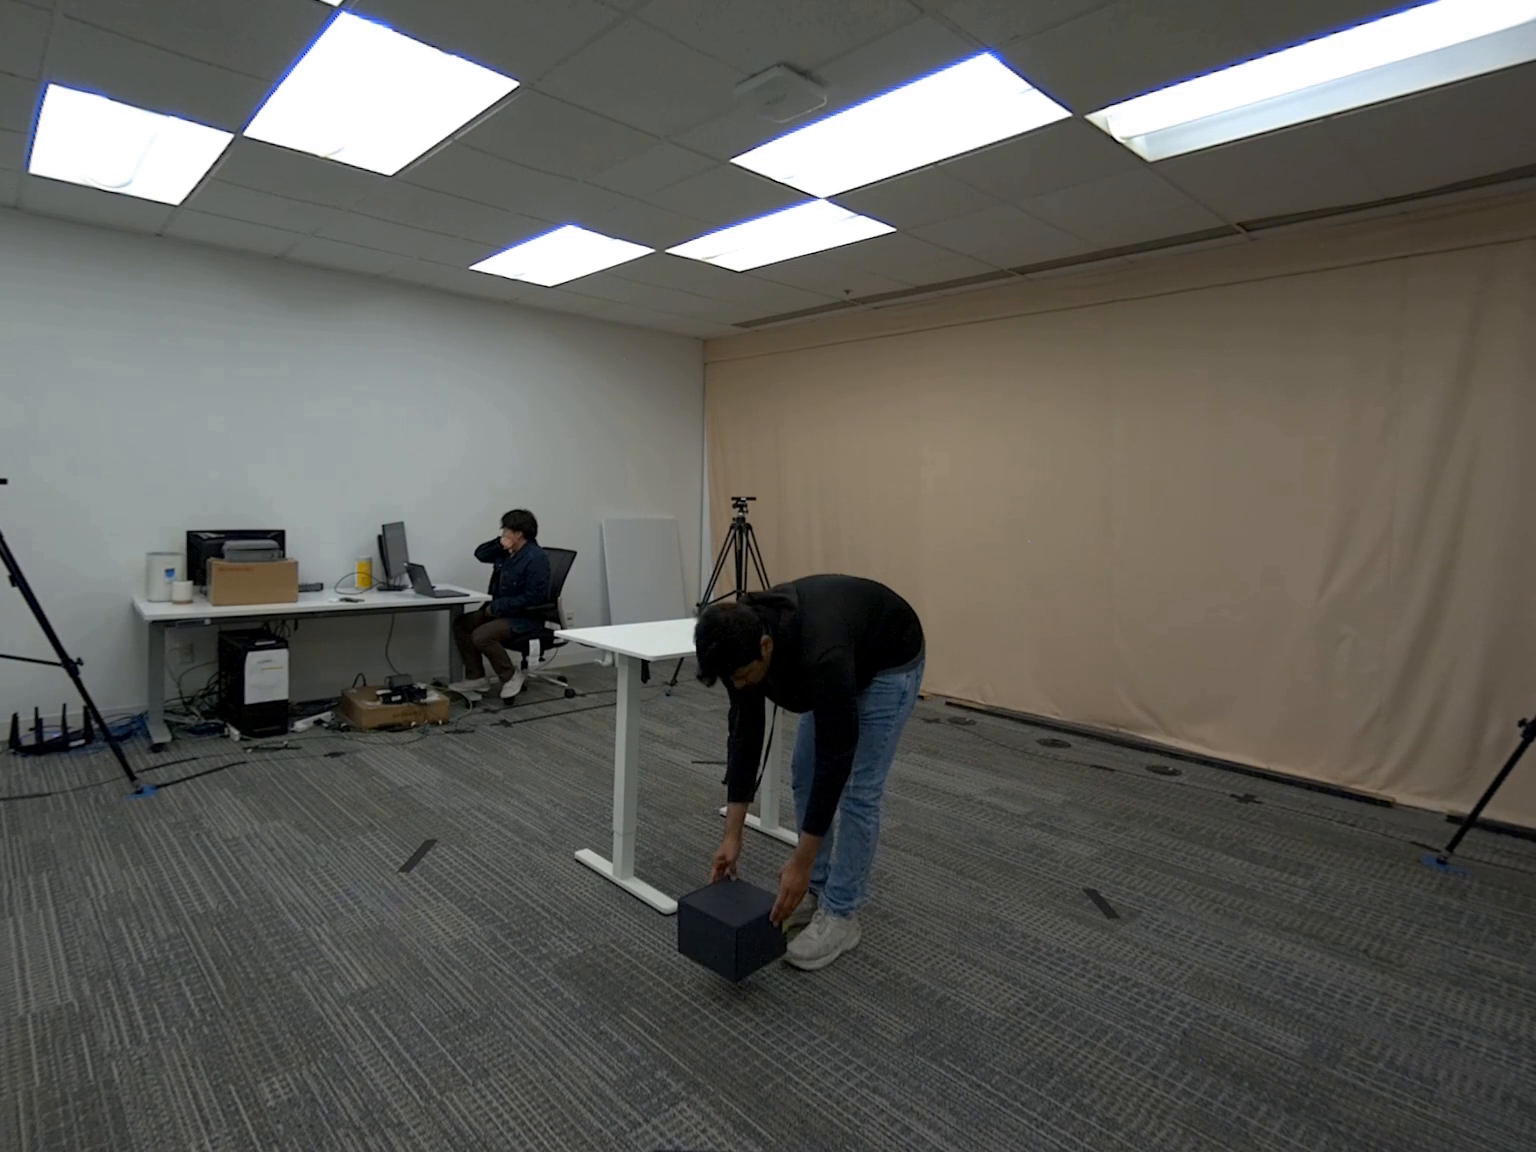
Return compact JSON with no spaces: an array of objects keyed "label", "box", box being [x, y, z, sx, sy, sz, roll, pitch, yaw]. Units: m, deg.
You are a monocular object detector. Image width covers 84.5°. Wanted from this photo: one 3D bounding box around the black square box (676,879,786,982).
[{"label":"black square box","box":[-0.100,0.971,2.364,0.234,0.155,0.212,6,6,42]}]
